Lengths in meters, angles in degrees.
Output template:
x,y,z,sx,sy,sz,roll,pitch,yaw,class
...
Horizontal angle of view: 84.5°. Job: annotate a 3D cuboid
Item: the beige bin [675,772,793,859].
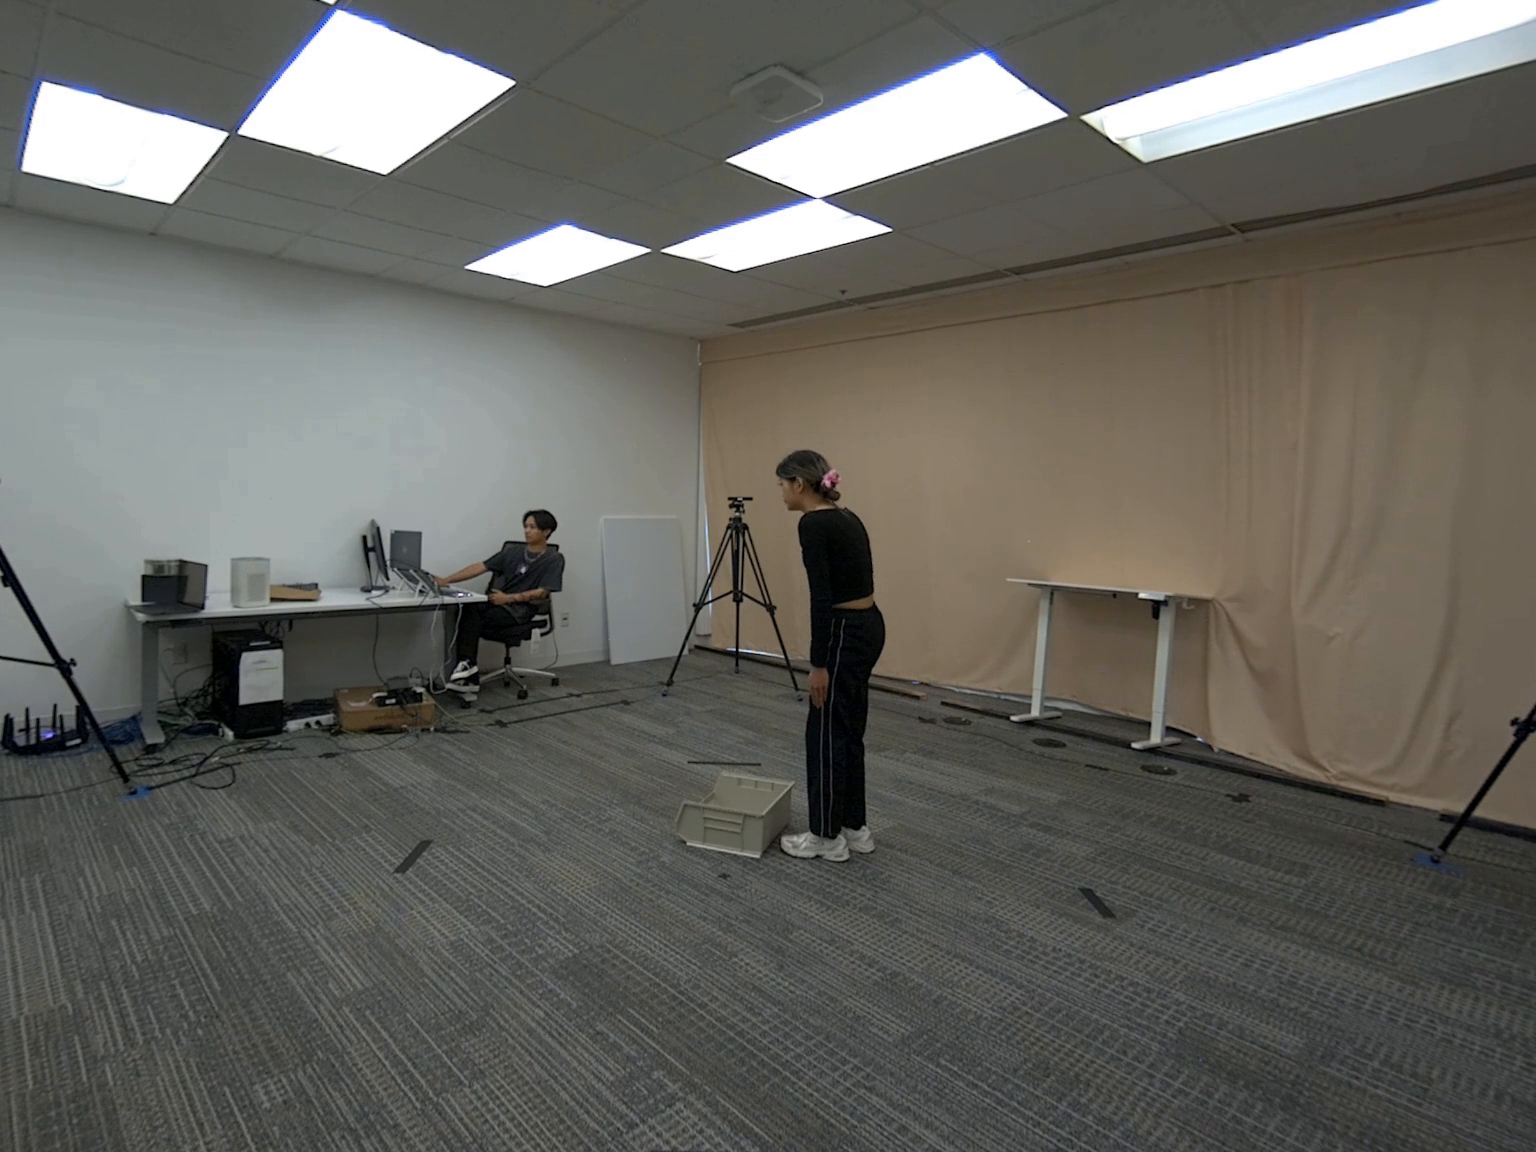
x,y,z,sx,sy,sz,roll,pitch,yaw,class
-0.137,0.981,3.511,0.383,0.188,0.416,4,5,19,beige bin
